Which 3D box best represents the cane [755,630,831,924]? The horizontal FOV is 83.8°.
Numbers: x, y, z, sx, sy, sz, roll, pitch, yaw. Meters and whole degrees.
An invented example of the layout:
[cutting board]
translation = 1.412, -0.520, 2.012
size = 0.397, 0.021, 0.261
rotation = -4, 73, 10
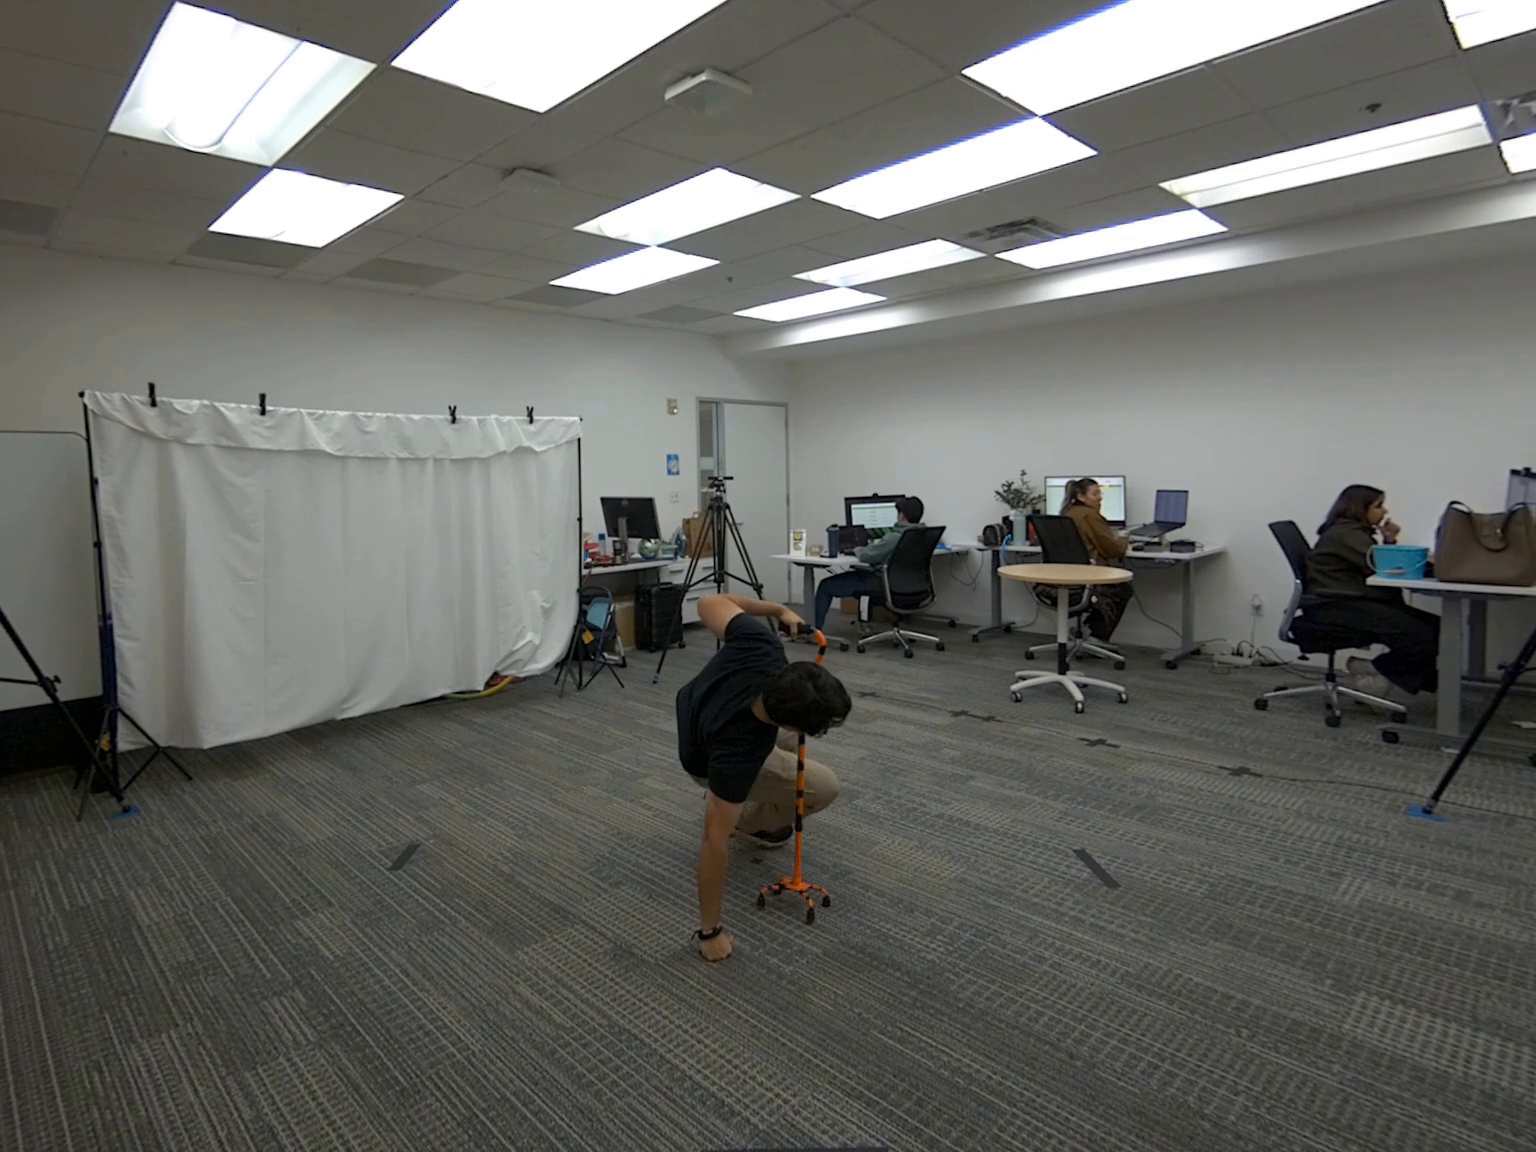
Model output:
[cane]
translation = 0.108, 0.625, 2.771
size = 0.212, 0.908, 0.147
rotation = 2, 0, 30
